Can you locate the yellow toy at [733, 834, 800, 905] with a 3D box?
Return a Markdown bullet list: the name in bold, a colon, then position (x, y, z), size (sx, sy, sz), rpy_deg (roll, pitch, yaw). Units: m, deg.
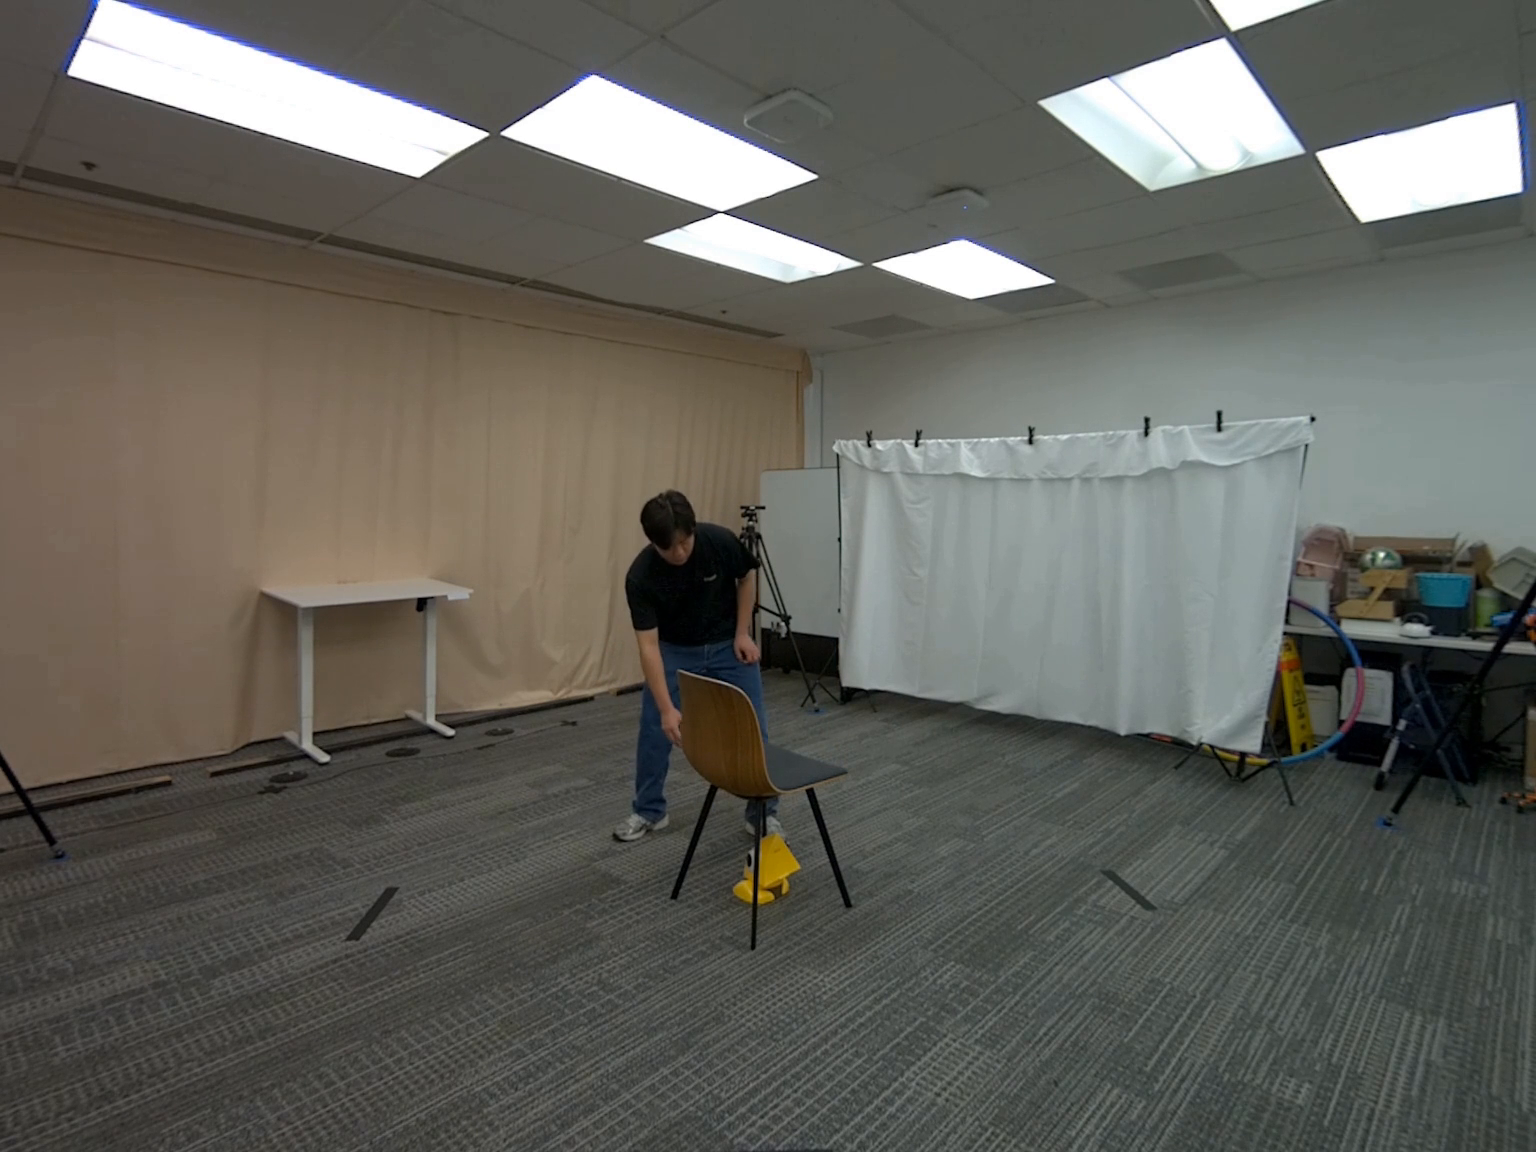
- **yellow toy**: position (-0.018, 1.019, 3.036), size (0.199, 0.230, 0.199), rpy_deg (3, 6, 41)
